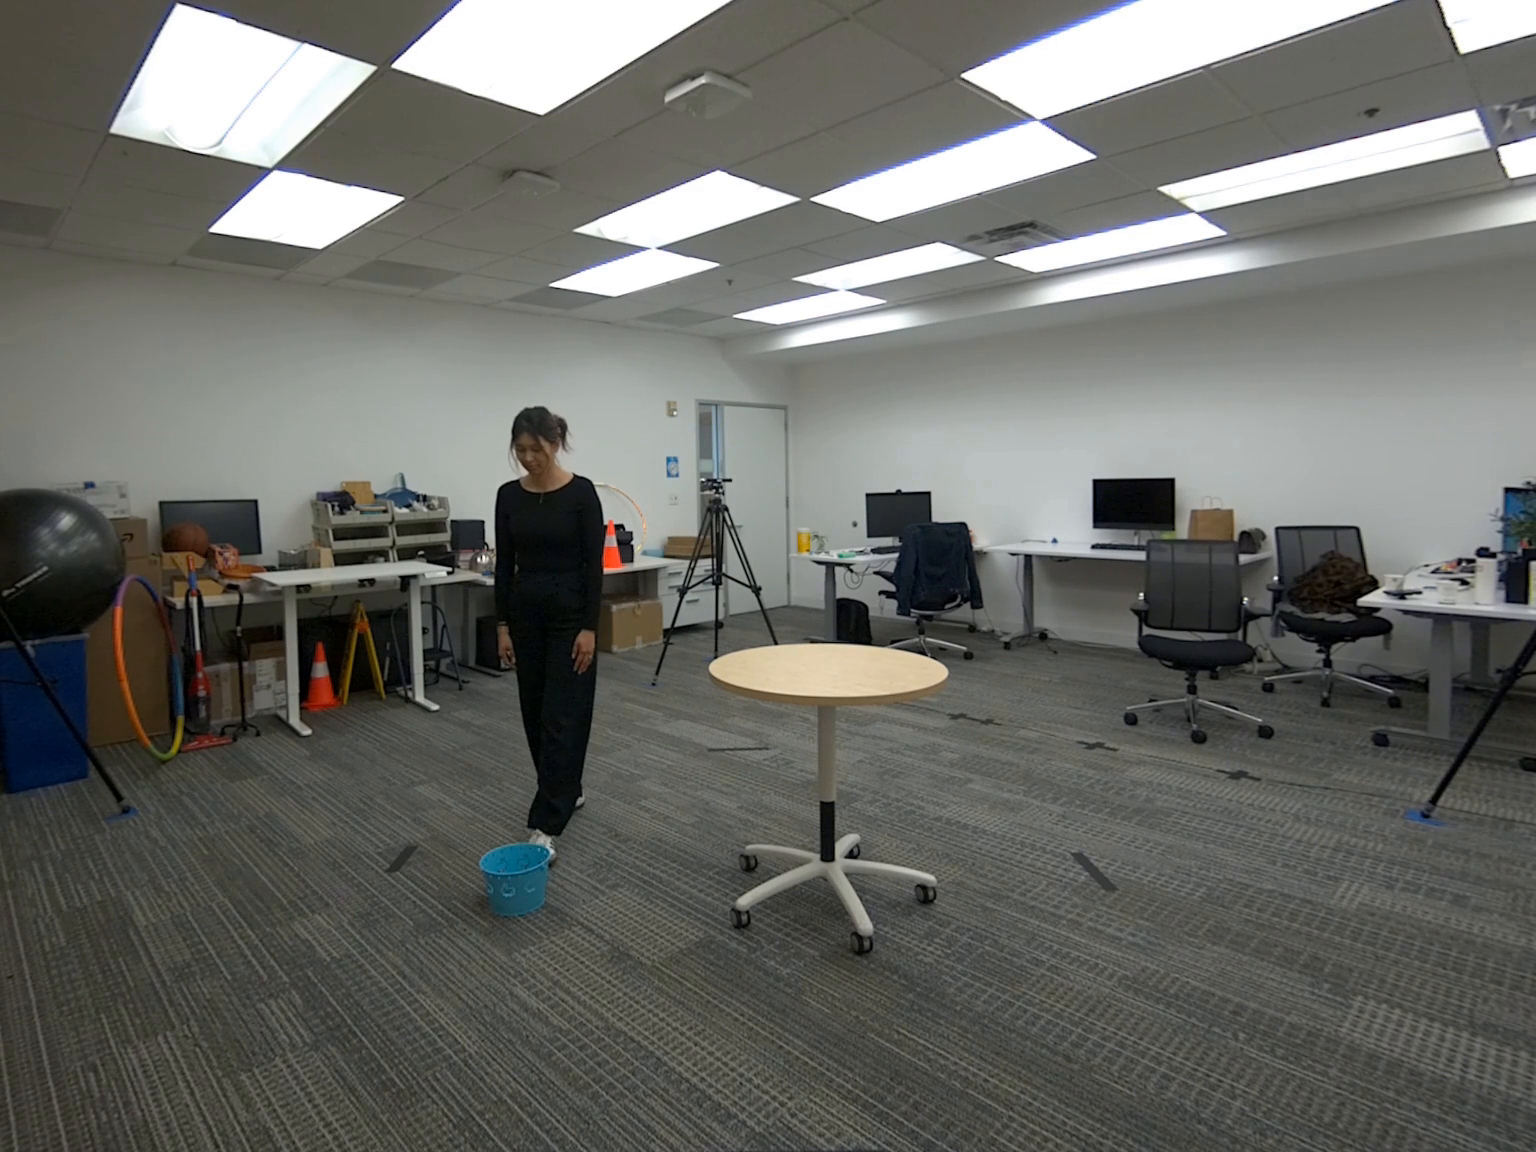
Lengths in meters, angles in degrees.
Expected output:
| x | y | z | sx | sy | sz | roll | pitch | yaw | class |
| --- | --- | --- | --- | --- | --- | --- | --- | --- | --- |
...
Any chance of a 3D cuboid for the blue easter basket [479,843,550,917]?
| x | y | z | sx | sy | sz | roll | pitch | yaw | class |
| --- | --- | --- | --- | --- | --- | --- | --- | --- | --- |
| -0.836 | 1.015 | 2.858 | 0.243 | 0.155 | 0.245 | -2 | 6 | -2 | blue easter basket |
